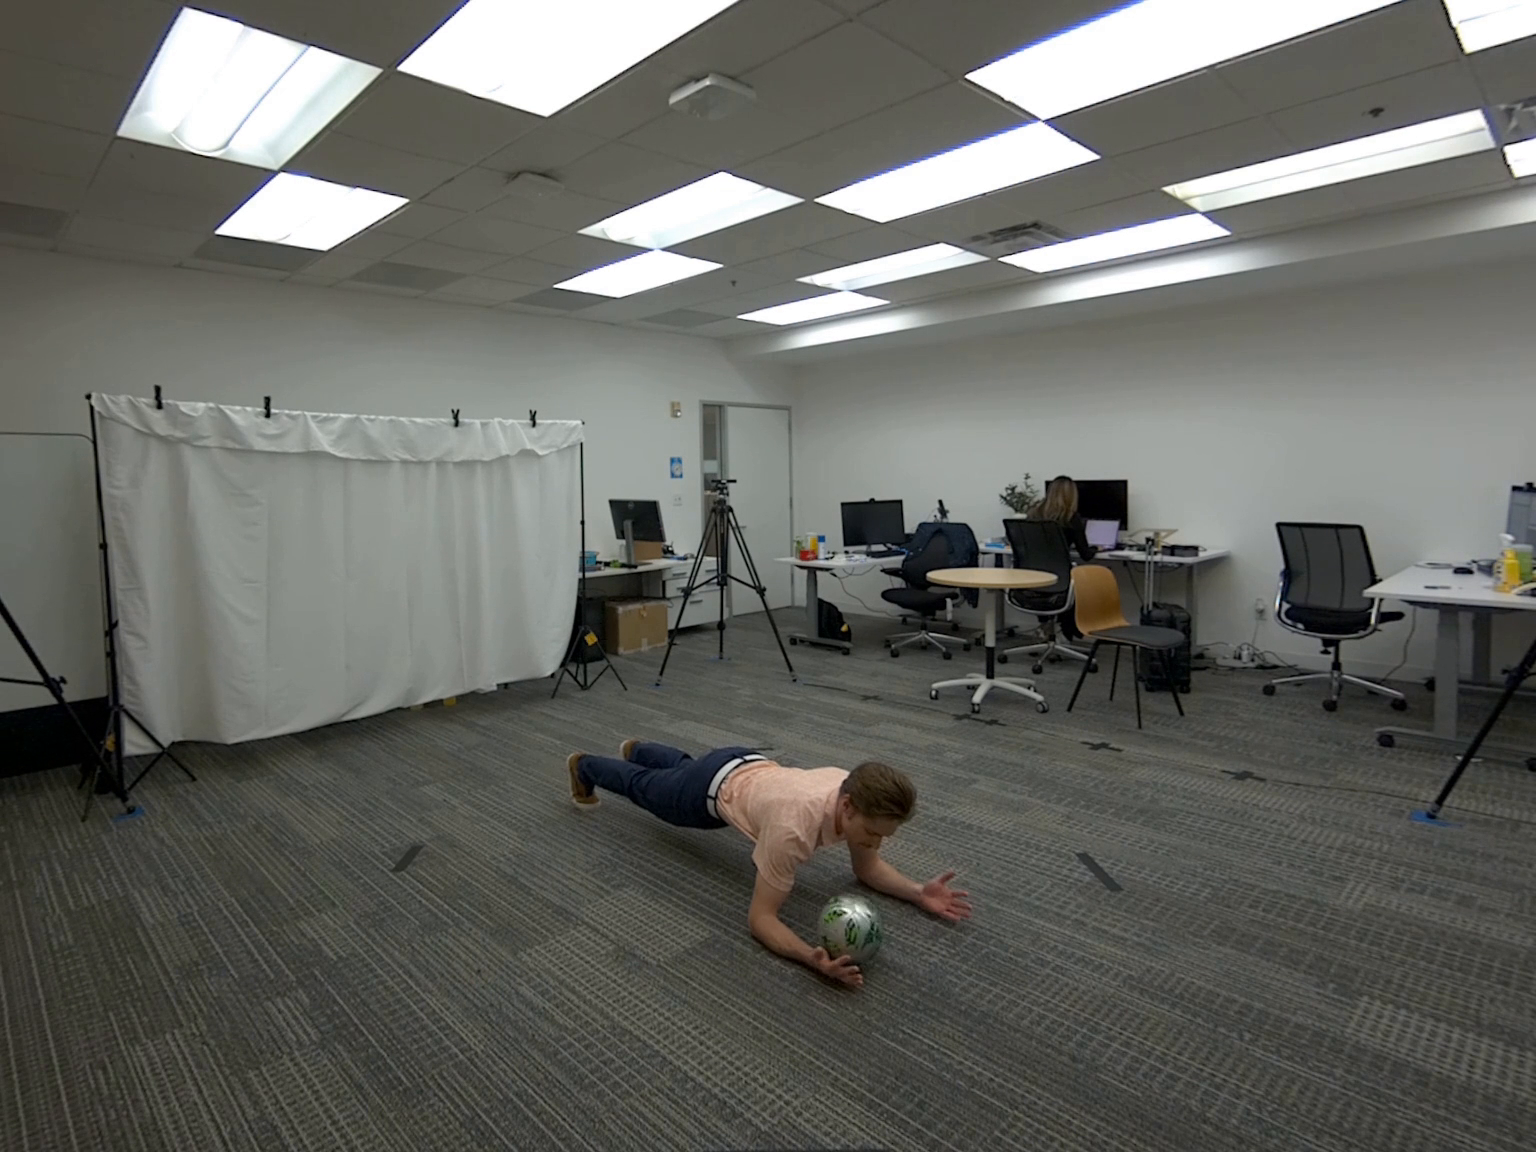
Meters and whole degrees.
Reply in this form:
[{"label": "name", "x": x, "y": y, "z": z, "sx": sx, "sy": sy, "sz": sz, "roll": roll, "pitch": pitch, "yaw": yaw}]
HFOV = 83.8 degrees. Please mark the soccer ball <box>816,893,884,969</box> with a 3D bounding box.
[{"label": "soccer ball", "x": 0.258, "y": 1.018, "z": 2.444, "sx": 0.187, "sy": 0.187, "sz": 0.188, "roll": -1, "pitch": 5, "yaw": -2}]
